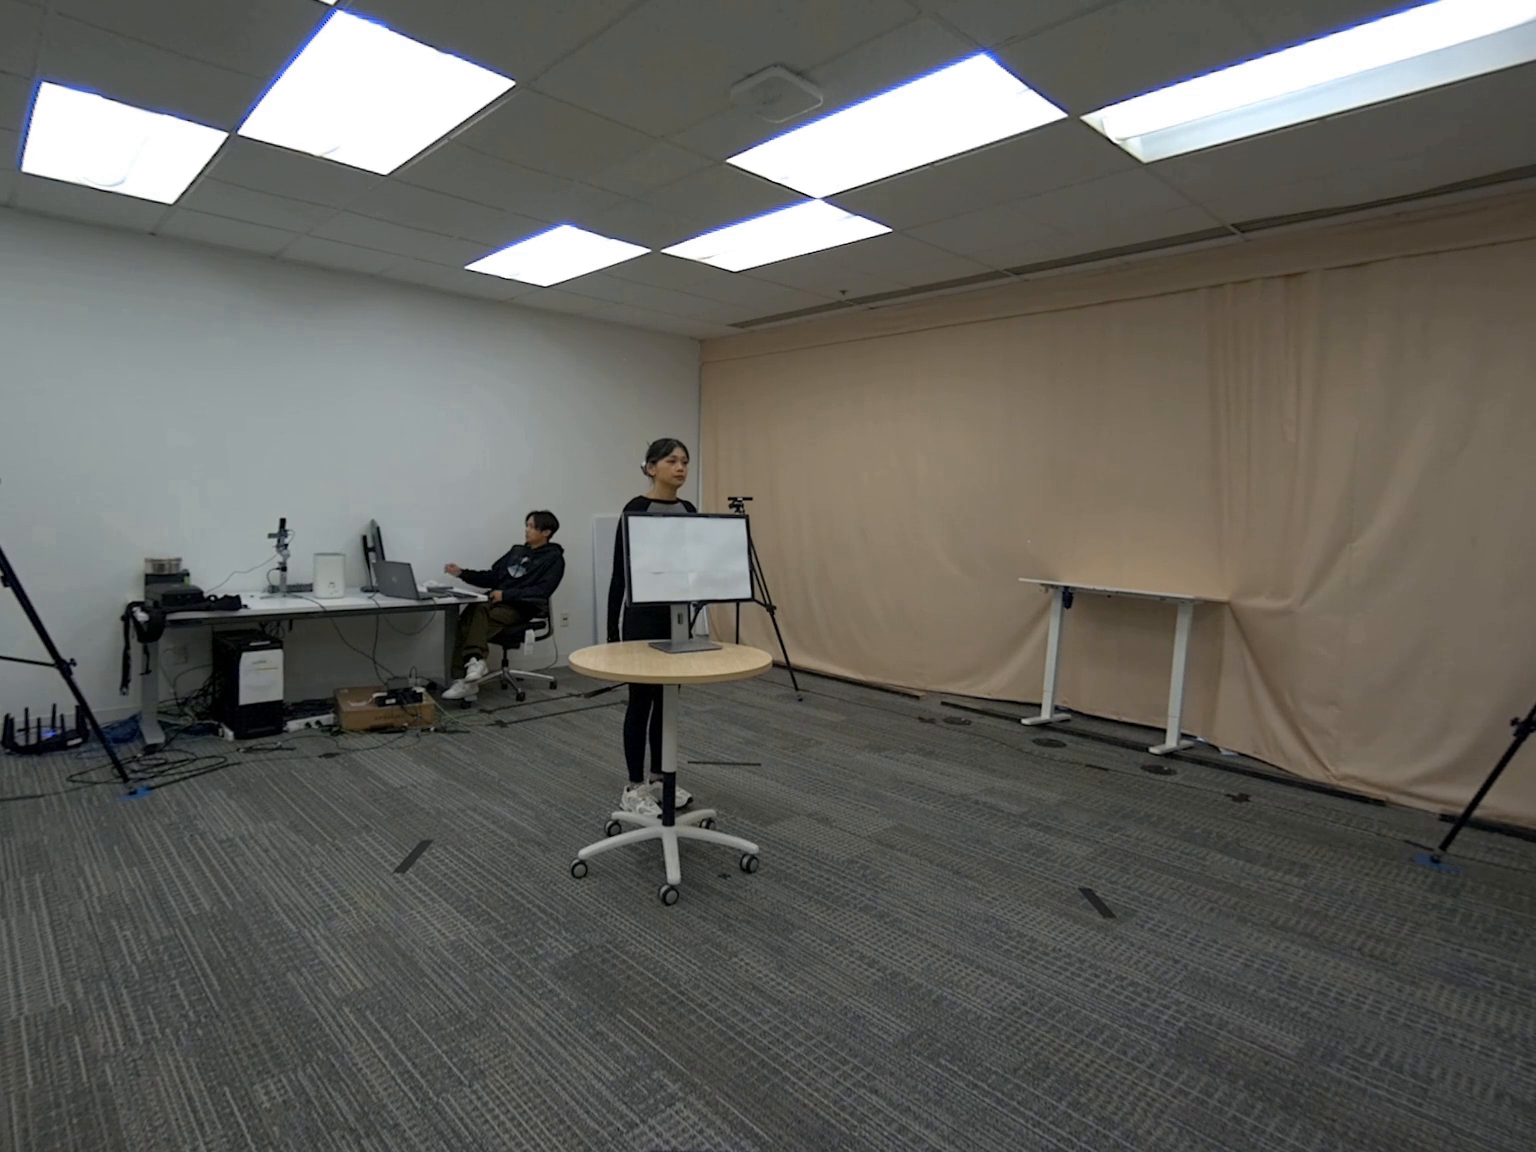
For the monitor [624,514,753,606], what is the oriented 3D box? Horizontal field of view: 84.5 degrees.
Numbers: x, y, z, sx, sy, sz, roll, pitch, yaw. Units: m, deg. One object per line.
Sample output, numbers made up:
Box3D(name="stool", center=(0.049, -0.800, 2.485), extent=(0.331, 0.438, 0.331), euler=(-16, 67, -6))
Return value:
Box3D(name="monitor", center=(-0.338, 0.022, 3.373), extent=(0.528, 0.521, 0.191), euler=(-1, 5, -32))
